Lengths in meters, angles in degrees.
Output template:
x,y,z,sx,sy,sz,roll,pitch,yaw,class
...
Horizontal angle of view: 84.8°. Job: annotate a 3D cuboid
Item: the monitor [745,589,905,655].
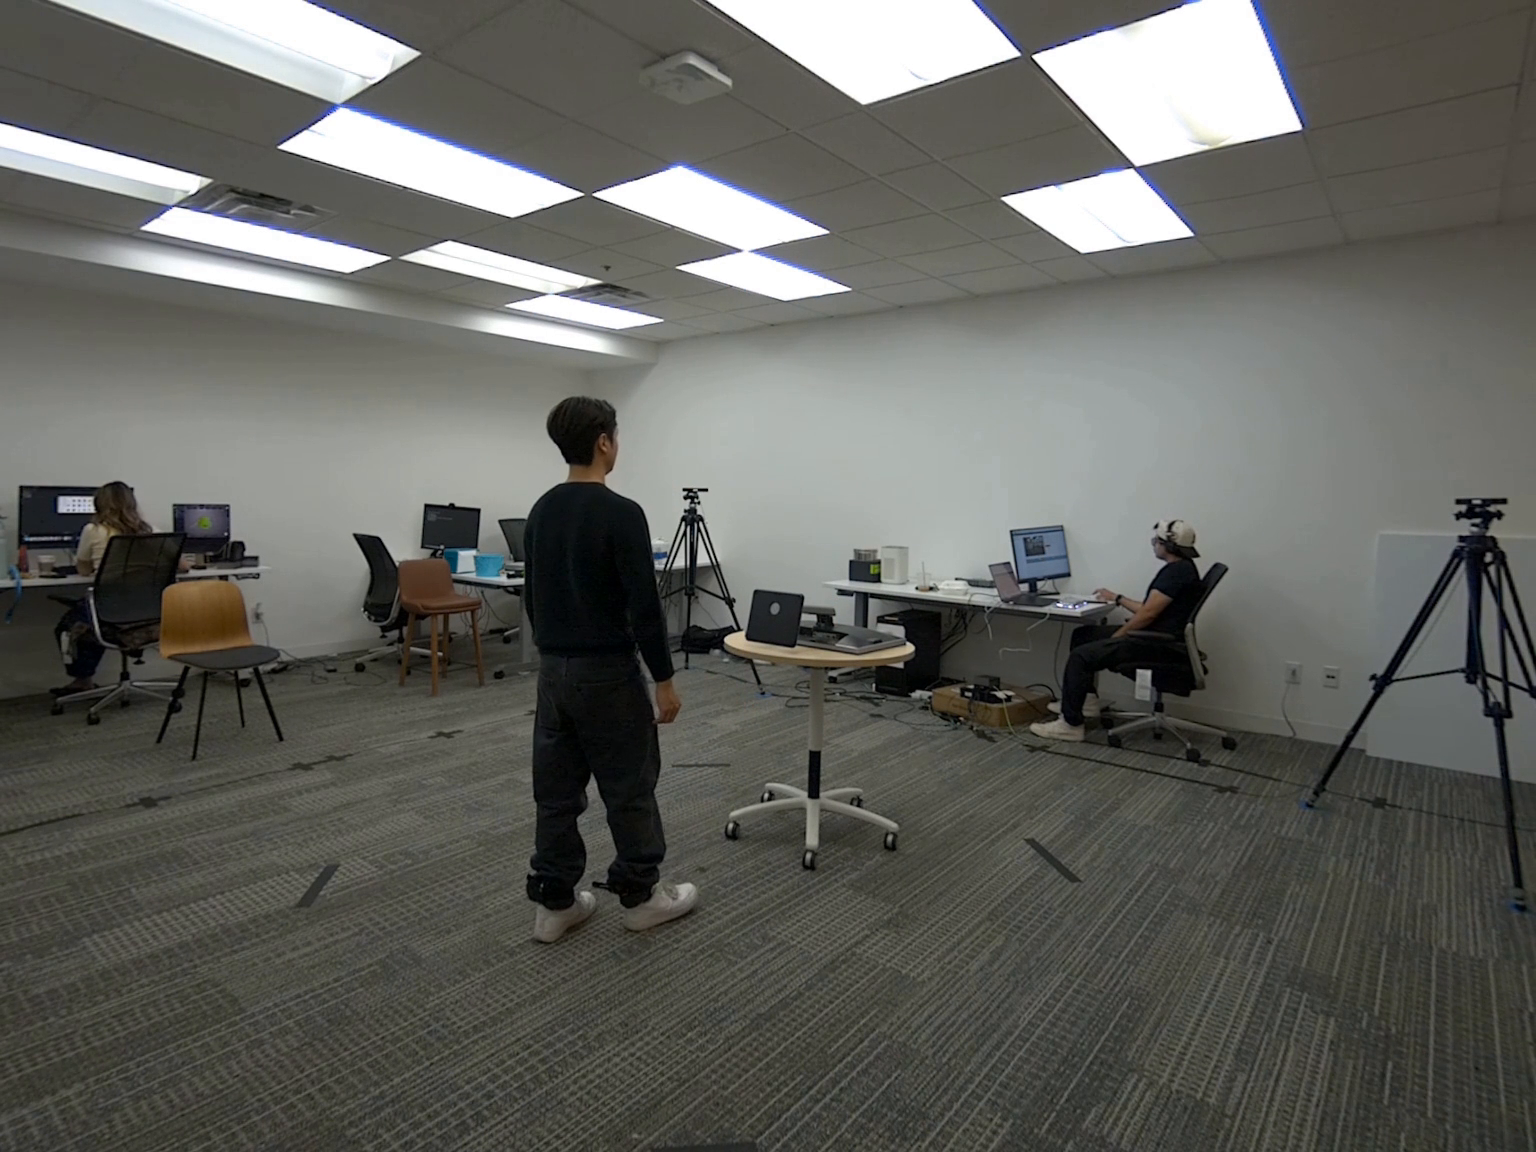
x,y,z,sx,sy,sz,roll,pitch,yaw,class
0.185,0.196,3.449,0.558,0.188,0.502,8,-6,41,monitor
